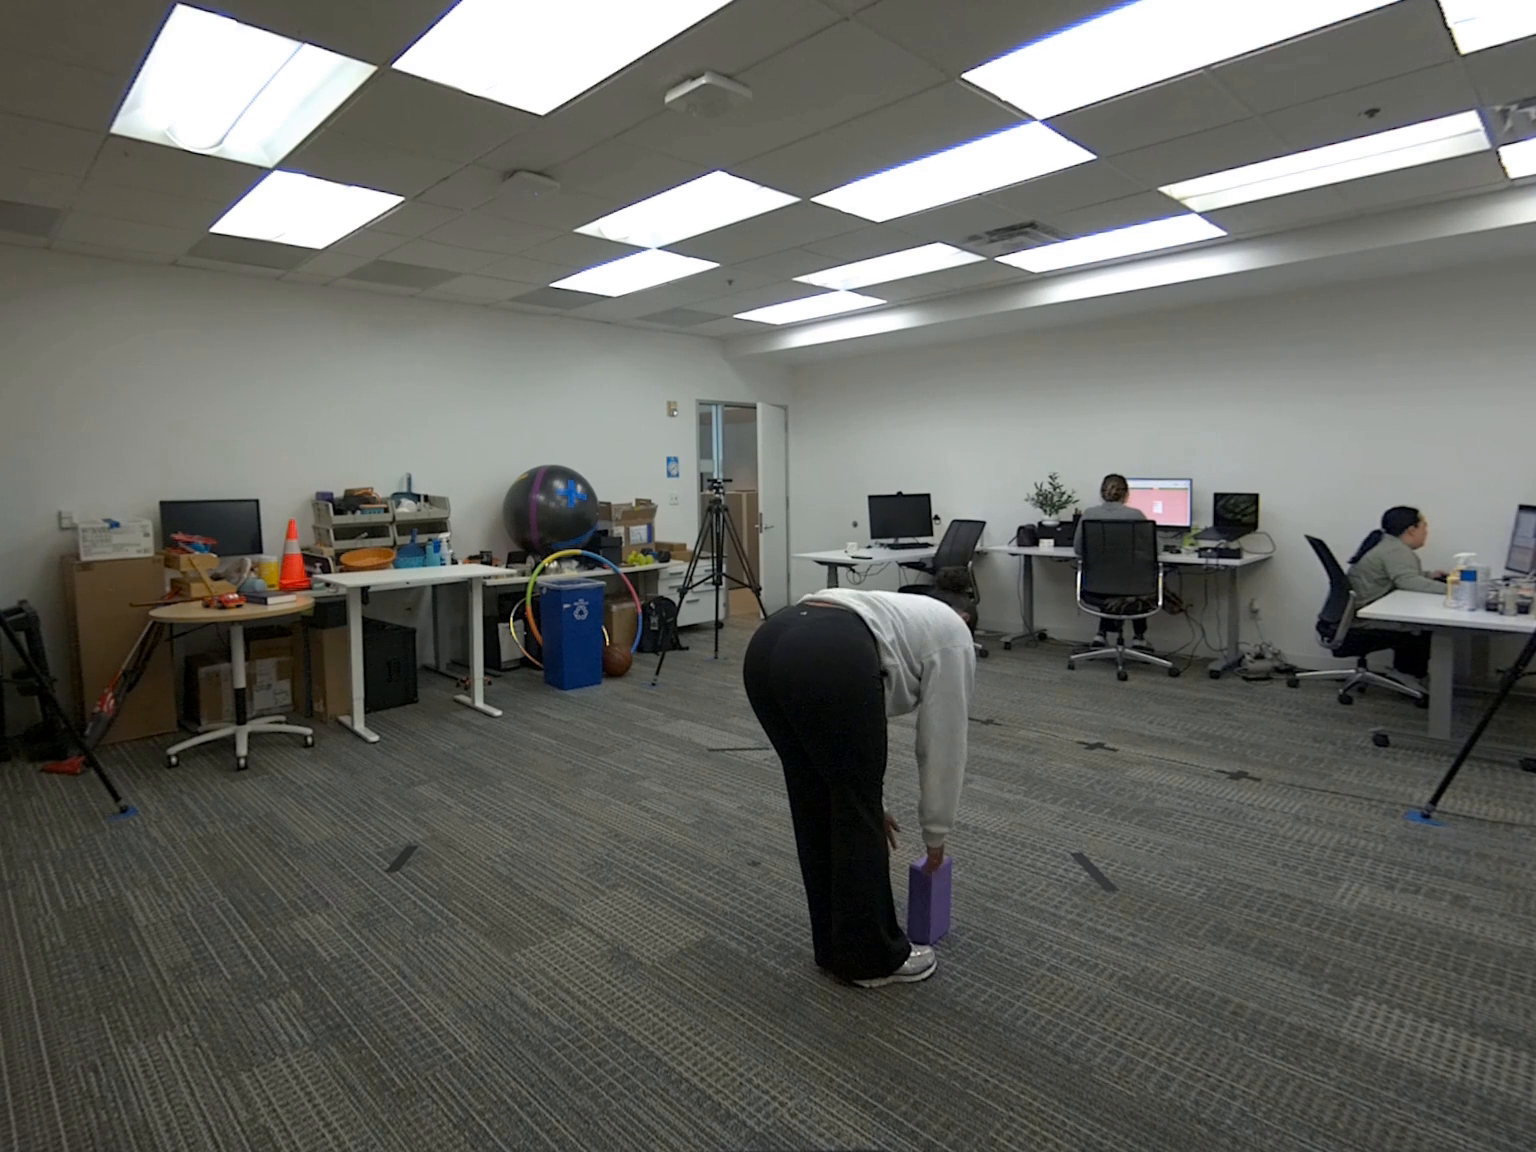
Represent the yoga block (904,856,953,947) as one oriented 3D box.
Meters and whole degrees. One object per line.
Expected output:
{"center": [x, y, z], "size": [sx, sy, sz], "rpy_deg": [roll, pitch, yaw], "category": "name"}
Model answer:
{"center": [0.490, 0.974, 2.587], "size": [0.079, 0.229, 0.145], "rpy_deg": [1, 4, 39], "category": "yoga block"}
